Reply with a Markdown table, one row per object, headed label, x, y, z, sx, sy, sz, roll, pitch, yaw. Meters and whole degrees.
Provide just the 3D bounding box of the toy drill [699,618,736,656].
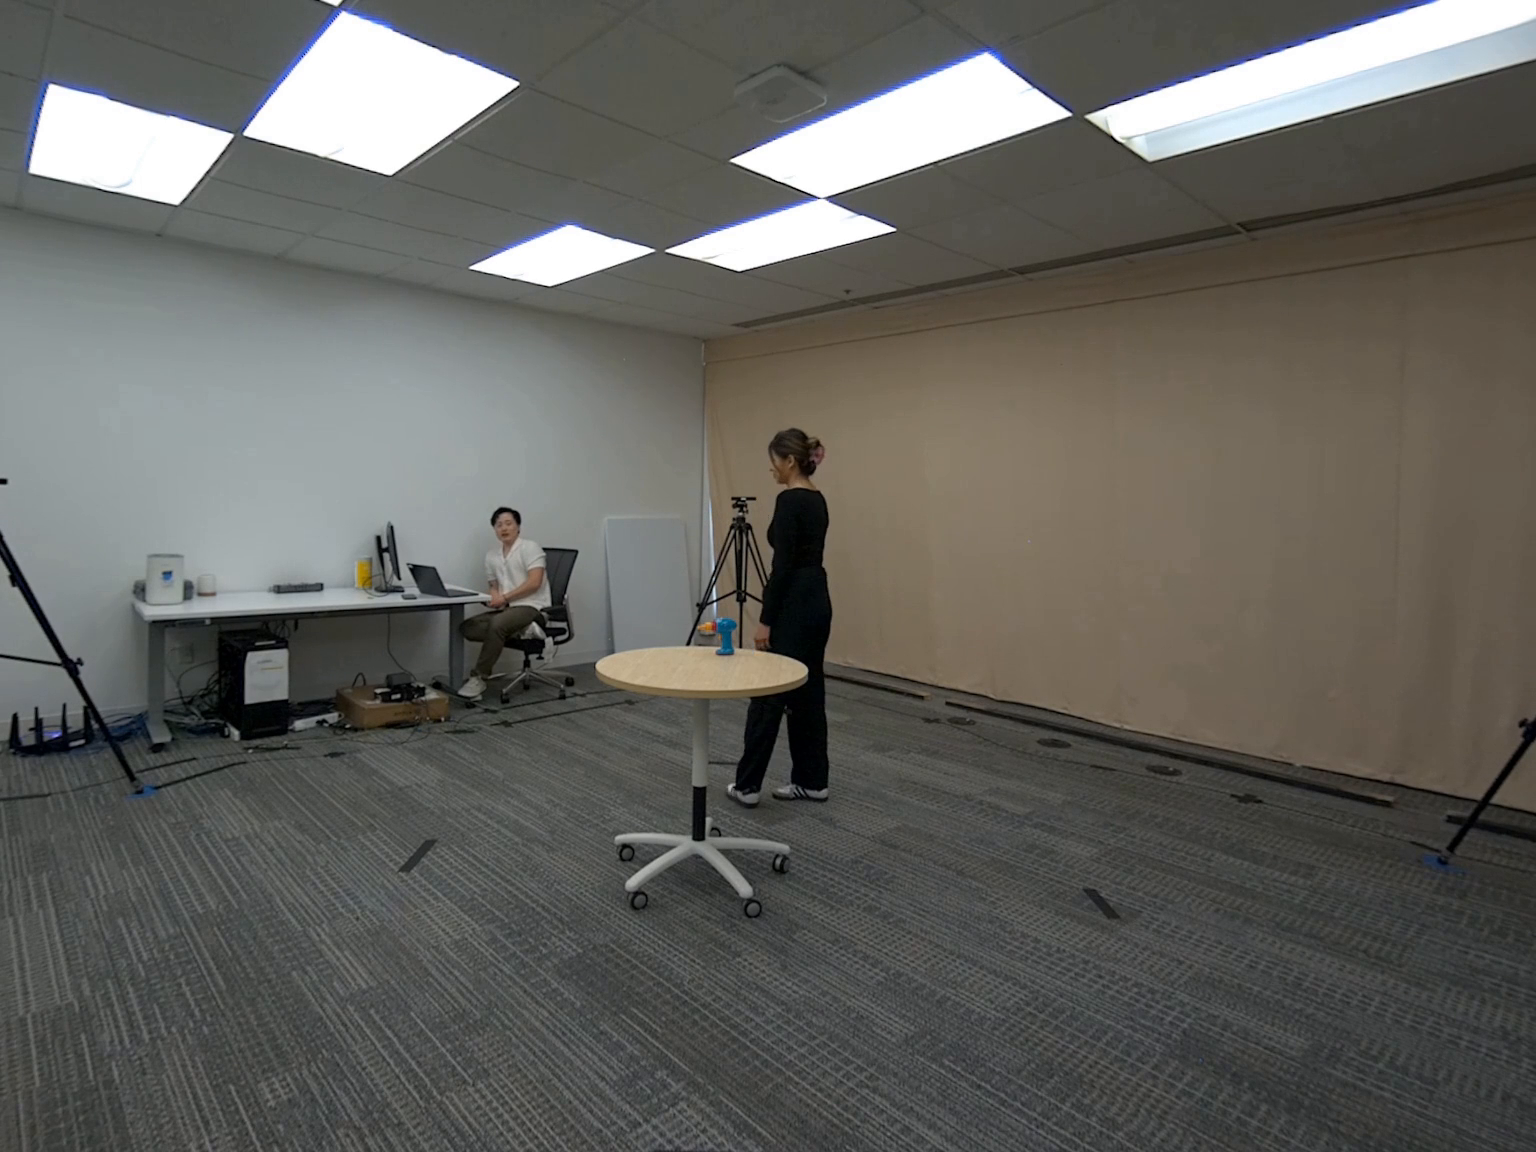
| label | x | y | z | sx | sy | sz | roll | pitch | yaw |
| --- | --- | --- | --- | --- | --- | --- | --- | --- | --- |
| toy drill | -0.199 | 0.234 | 3.248 | 0.166 | 0.145 | 0.062 | -1 | 5 | -28 |
